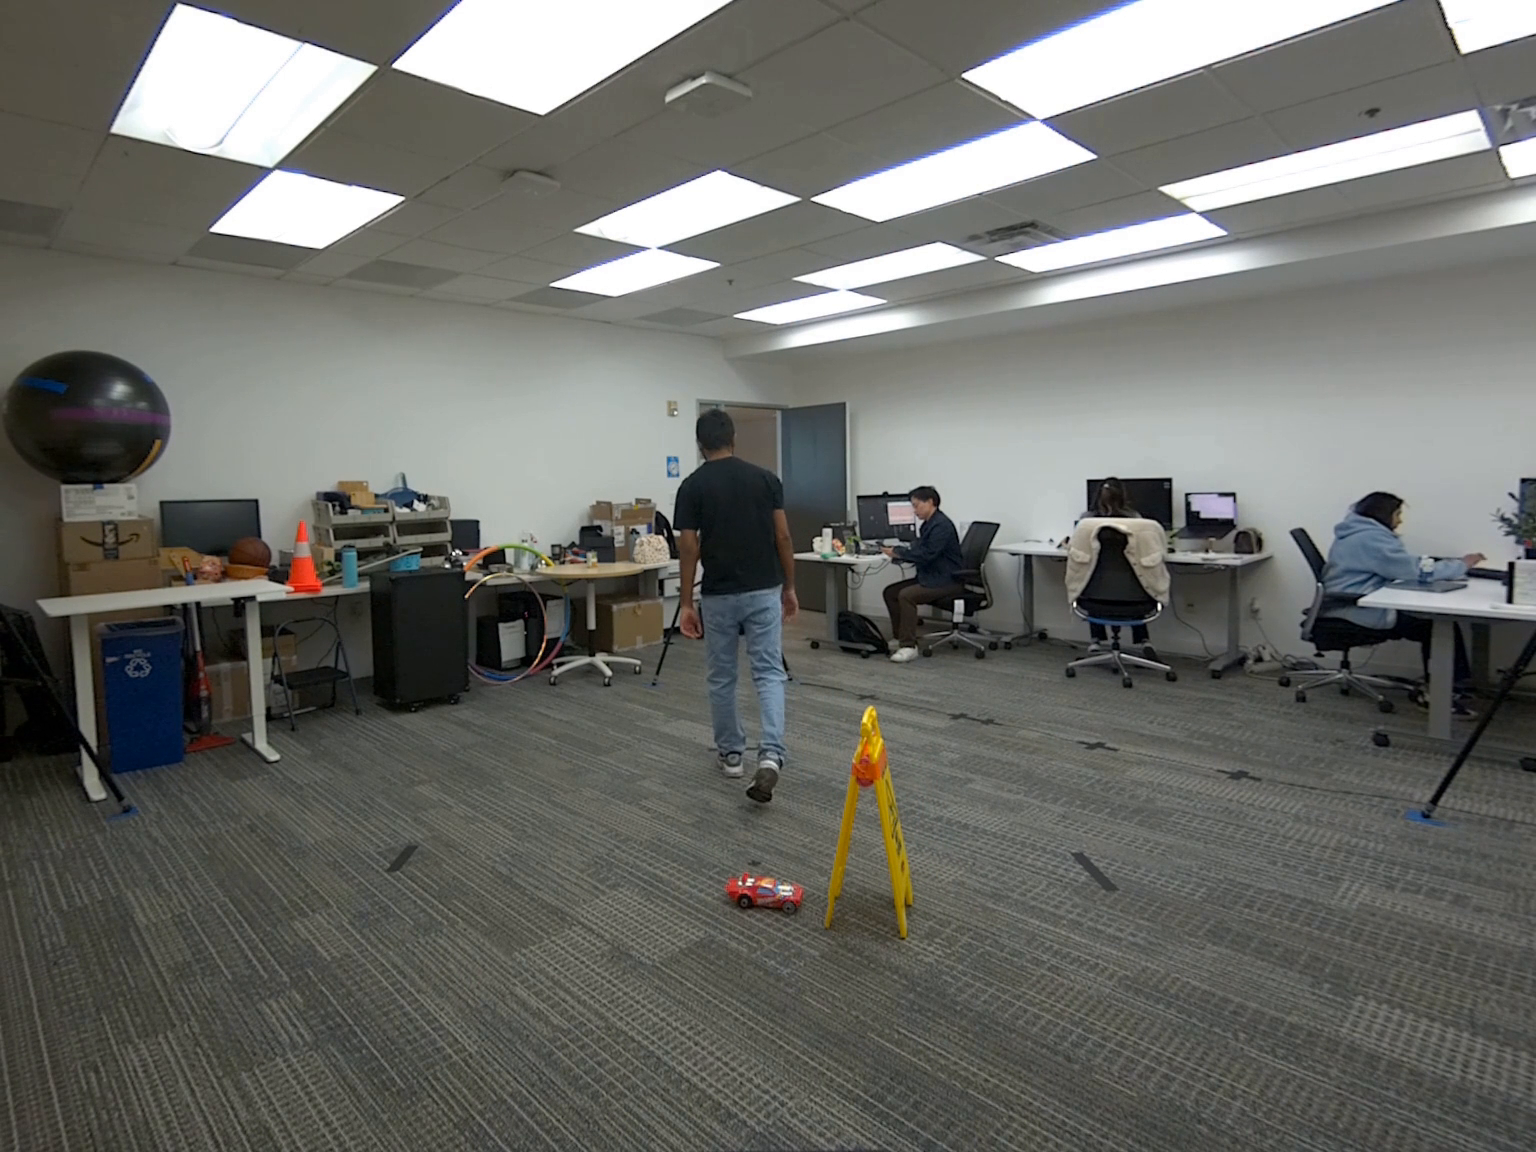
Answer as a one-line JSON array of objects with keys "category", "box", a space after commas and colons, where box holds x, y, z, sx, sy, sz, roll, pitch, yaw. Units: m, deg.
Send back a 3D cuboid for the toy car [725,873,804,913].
[{"category": "toy car", "box": [-0.011, 1.051, 2.812, 0.258, 0.083, 0.129, 11, 8, 13]}]
